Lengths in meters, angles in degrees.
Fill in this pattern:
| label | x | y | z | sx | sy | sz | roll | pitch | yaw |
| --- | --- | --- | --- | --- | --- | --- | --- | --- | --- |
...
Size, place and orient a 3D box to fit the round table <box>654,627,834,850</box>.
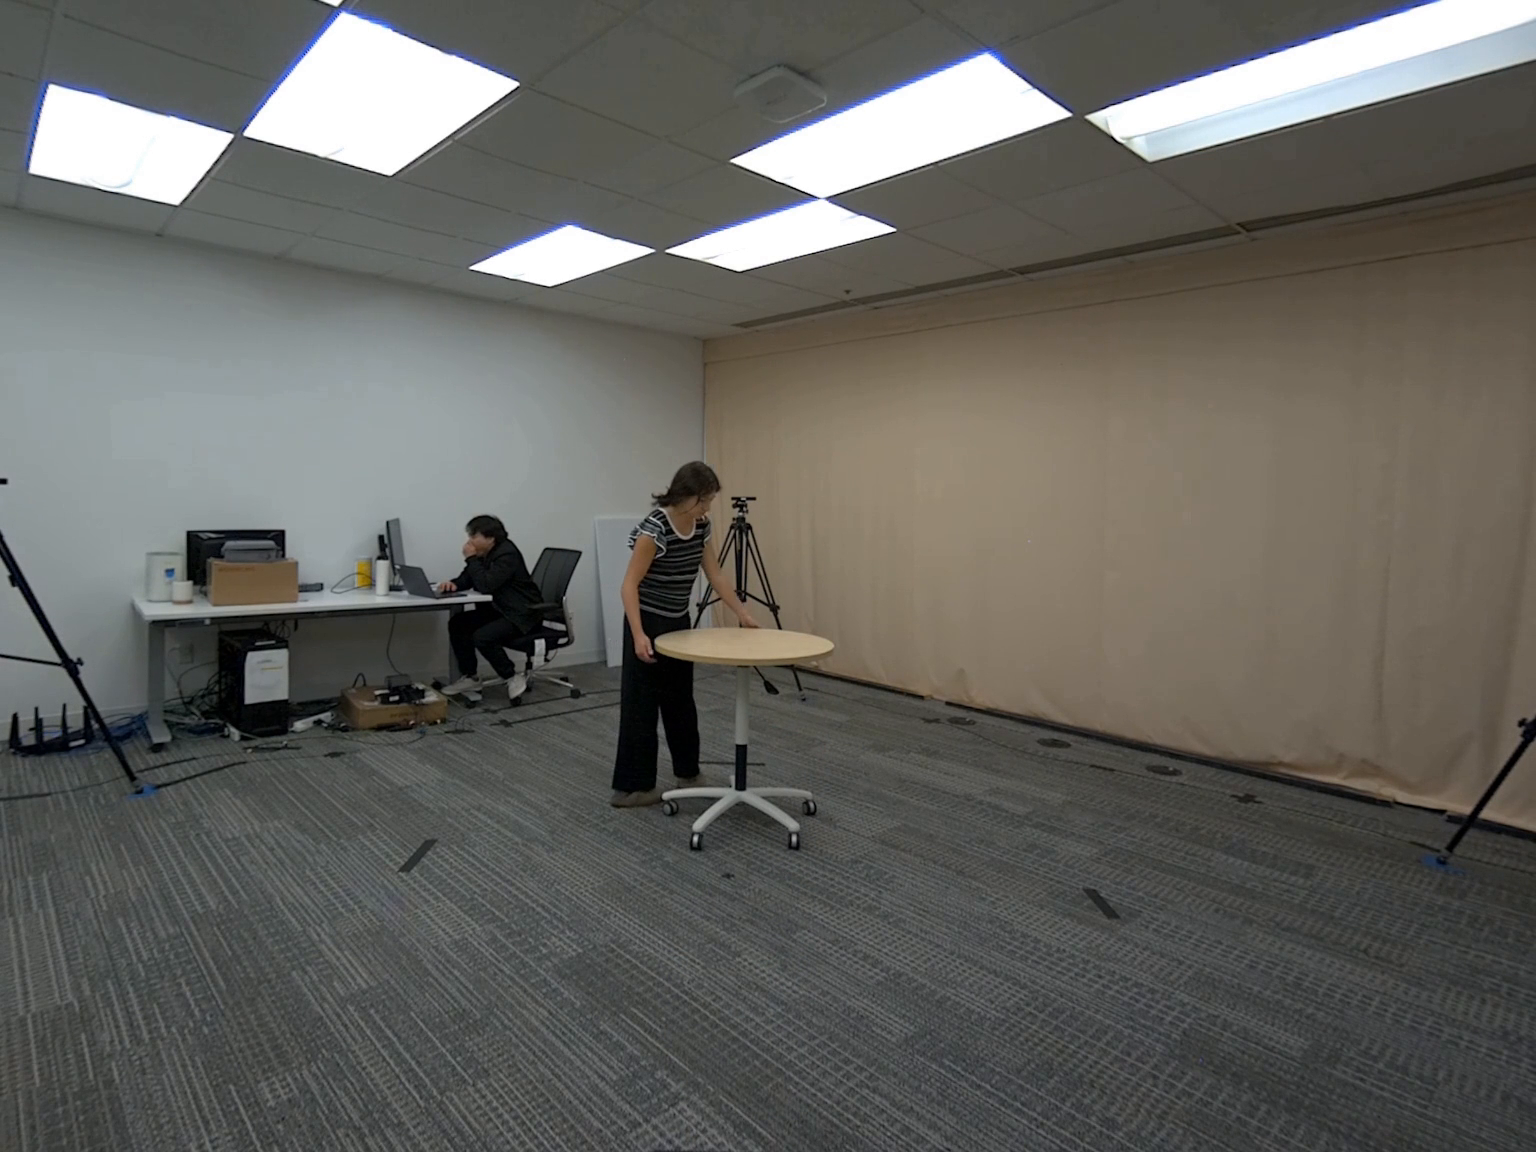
| label | x | y | z | sx | sy | sz | roll | pitch | yaw |
| --- | --- | --- | --- | --- | --- | --- | --- | --- | --- |
| round table | -0.120 | 0.675 | 3.615 | 0.763 | 0.792 | 0.766 | 2 | 4 | -1 |
